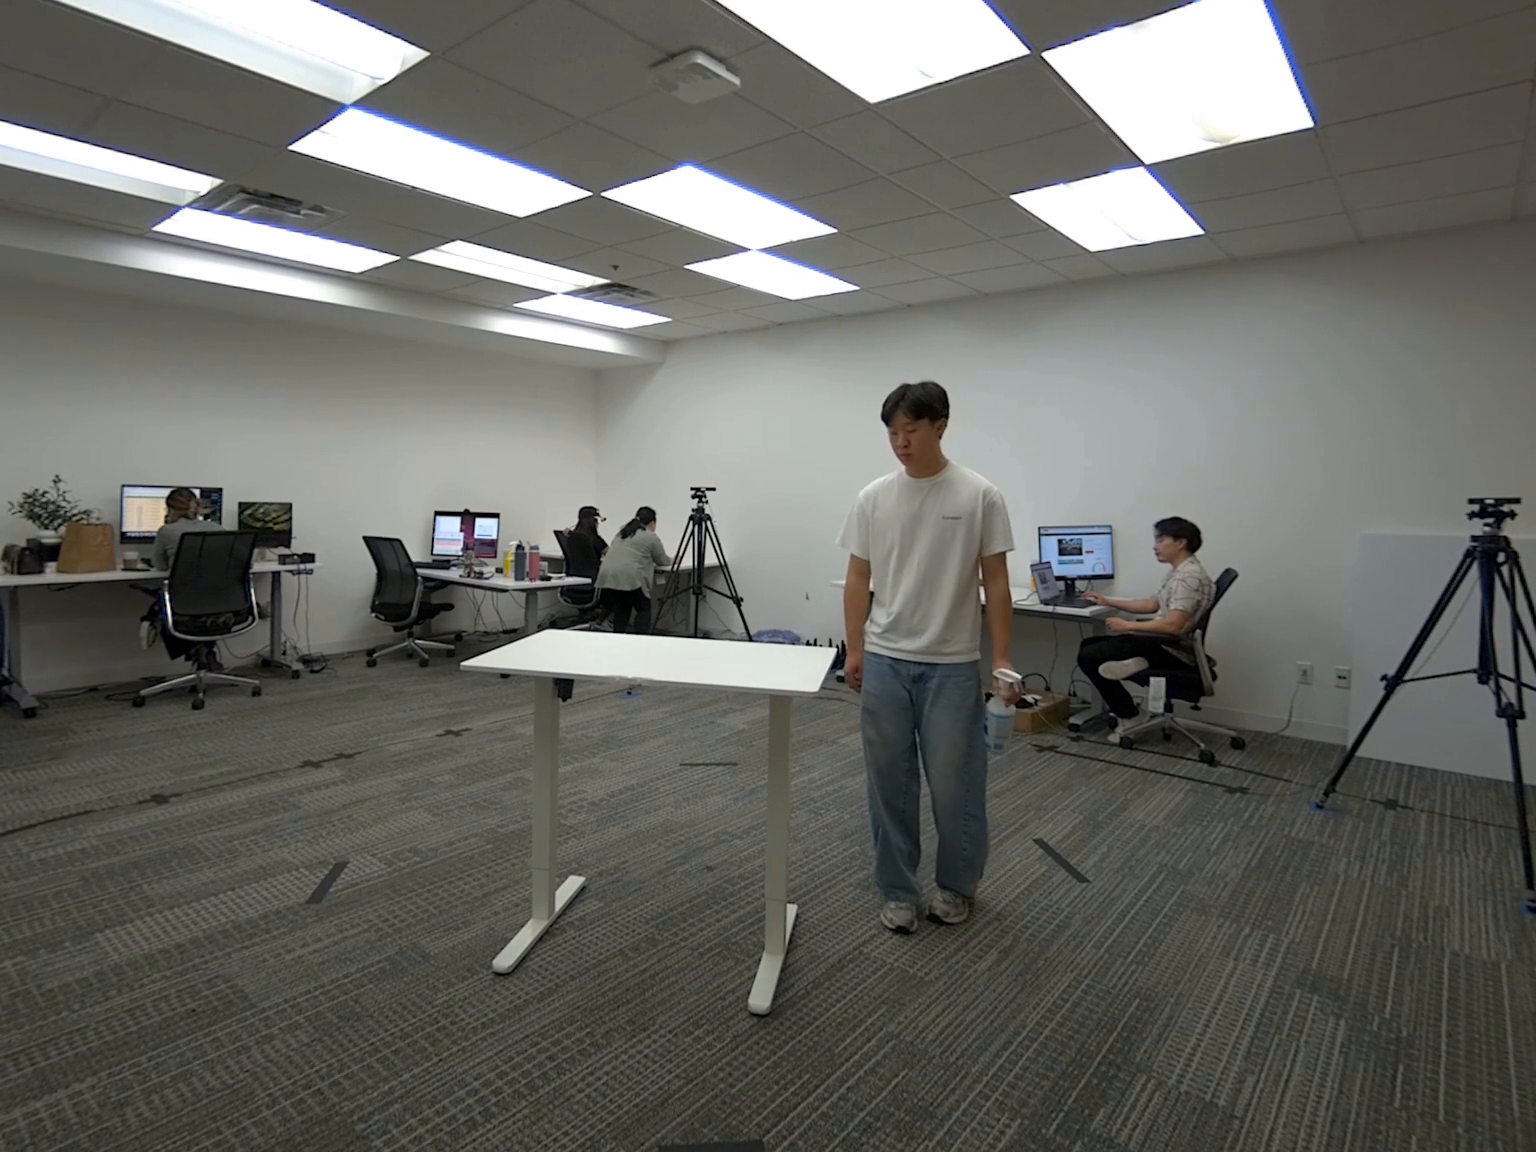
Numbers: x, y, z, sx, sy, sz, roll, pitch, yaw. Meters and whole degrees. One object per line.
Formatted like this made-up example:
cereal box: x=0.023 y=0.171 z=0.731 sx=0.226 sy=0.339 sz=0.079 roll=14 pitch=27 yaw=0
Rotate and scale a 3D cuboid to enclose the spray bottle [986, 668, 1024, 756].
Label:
spray bottle: x=0.729 y=0.416 z=2.665 sx=0.086 sy=0.291 sz=0.093 roll=-8 pitch=27 yaw=-17
